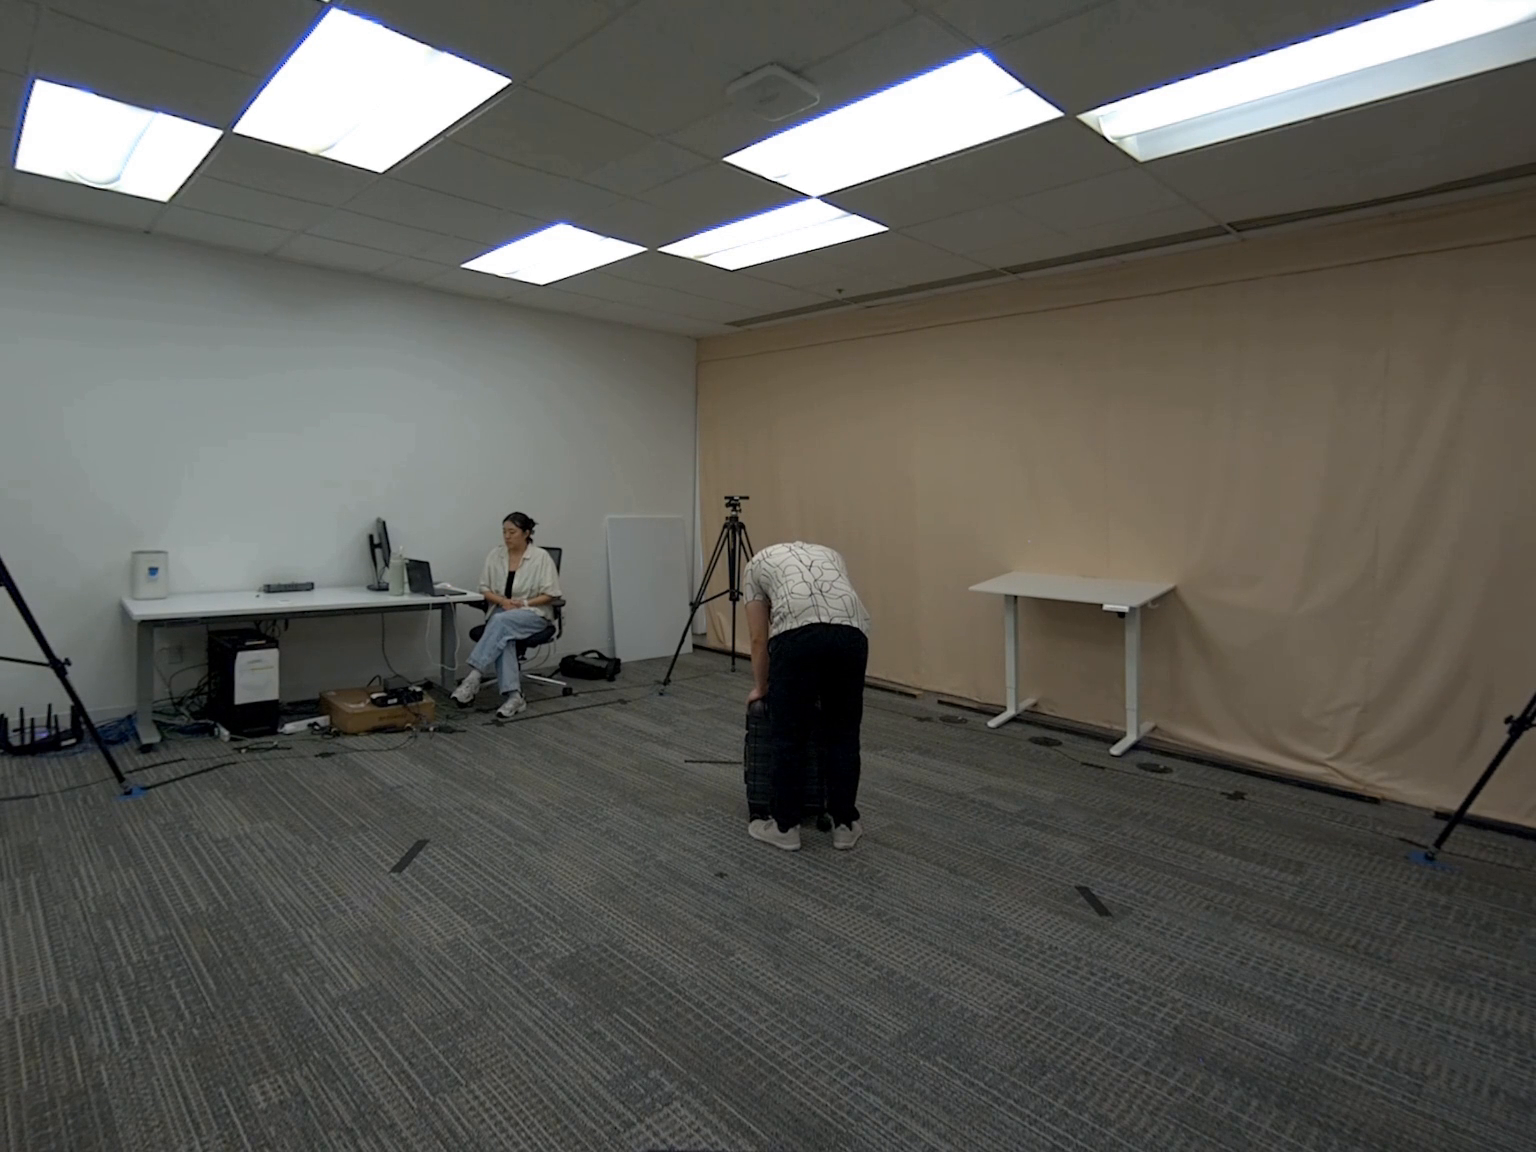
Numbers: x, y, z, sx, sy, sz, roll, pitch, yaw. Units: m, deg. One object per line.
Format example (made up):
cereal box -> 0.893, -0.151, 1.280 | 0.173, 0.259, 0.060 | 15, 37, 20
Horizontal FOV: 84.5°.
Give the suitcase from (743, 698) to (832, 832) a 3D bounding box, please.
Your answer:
suitcase -> 0.081, 0.785, 3.687 | 0.377, 0.549, 0.247 | 1, 1, 4
